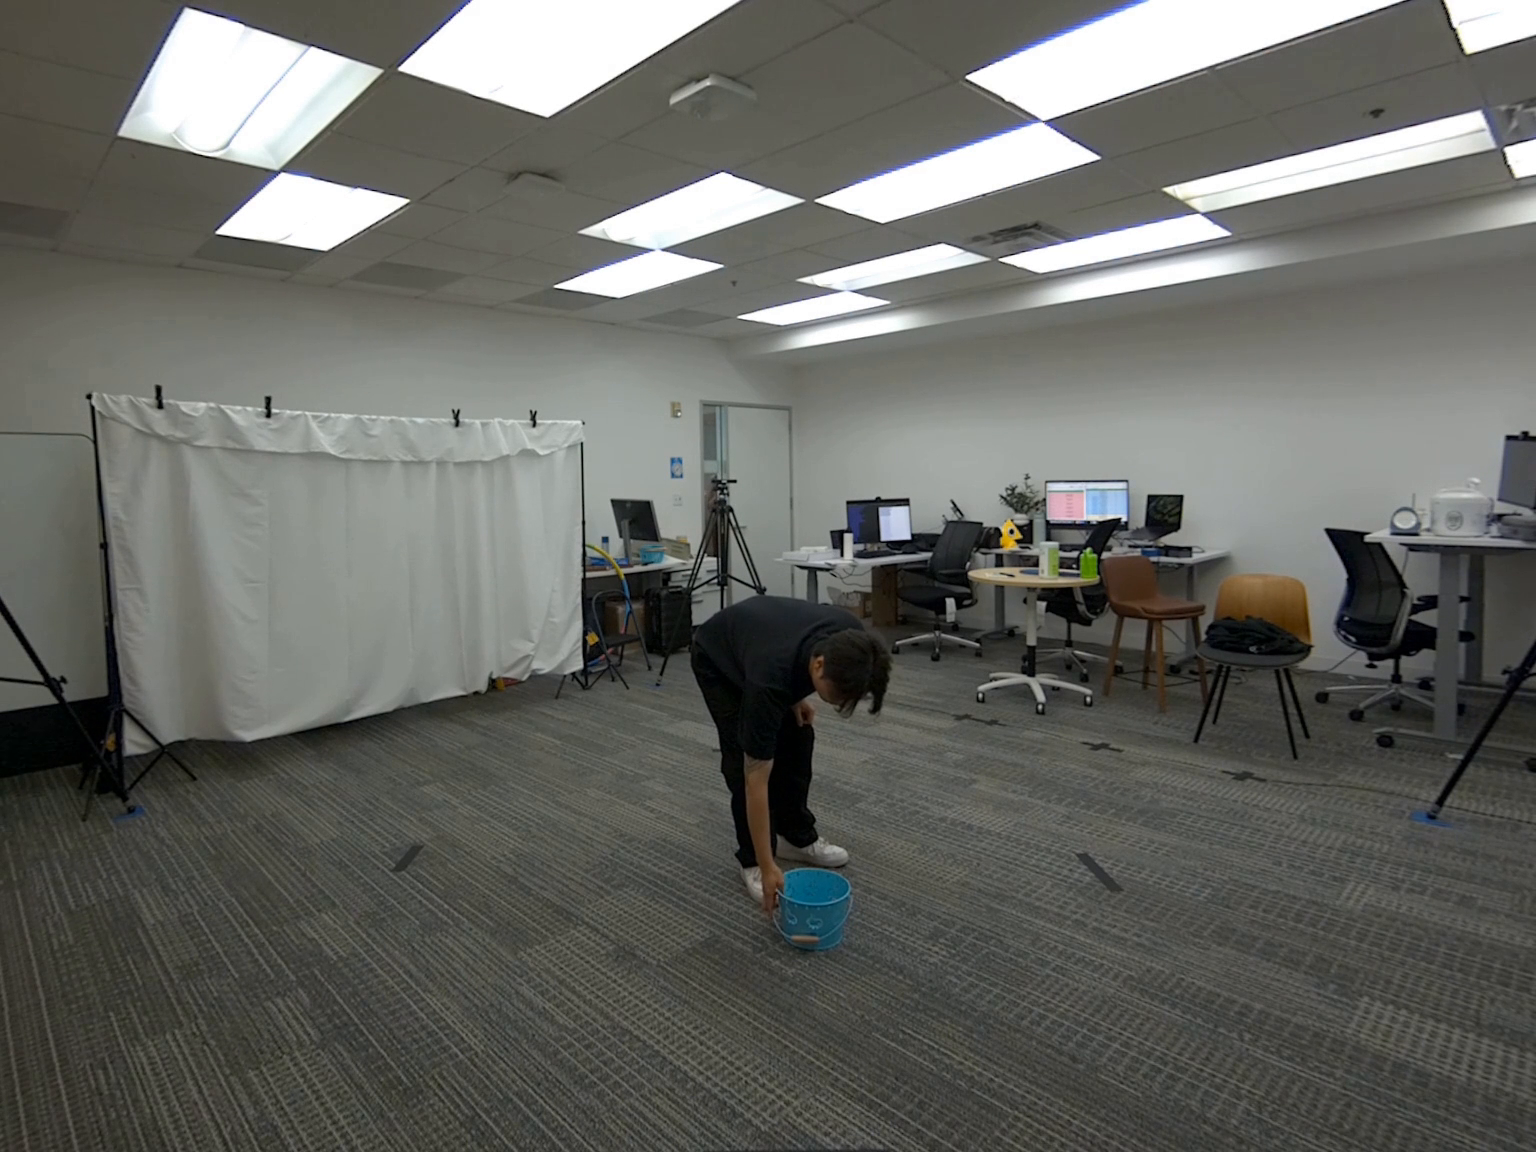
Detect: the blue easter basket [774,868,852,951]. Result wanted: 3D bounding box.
[{"bbox_3d":[0.133,1.025,2.614,0.243,0.155,0.245,-1,6,-2],"label":"blue easter basket"}]
